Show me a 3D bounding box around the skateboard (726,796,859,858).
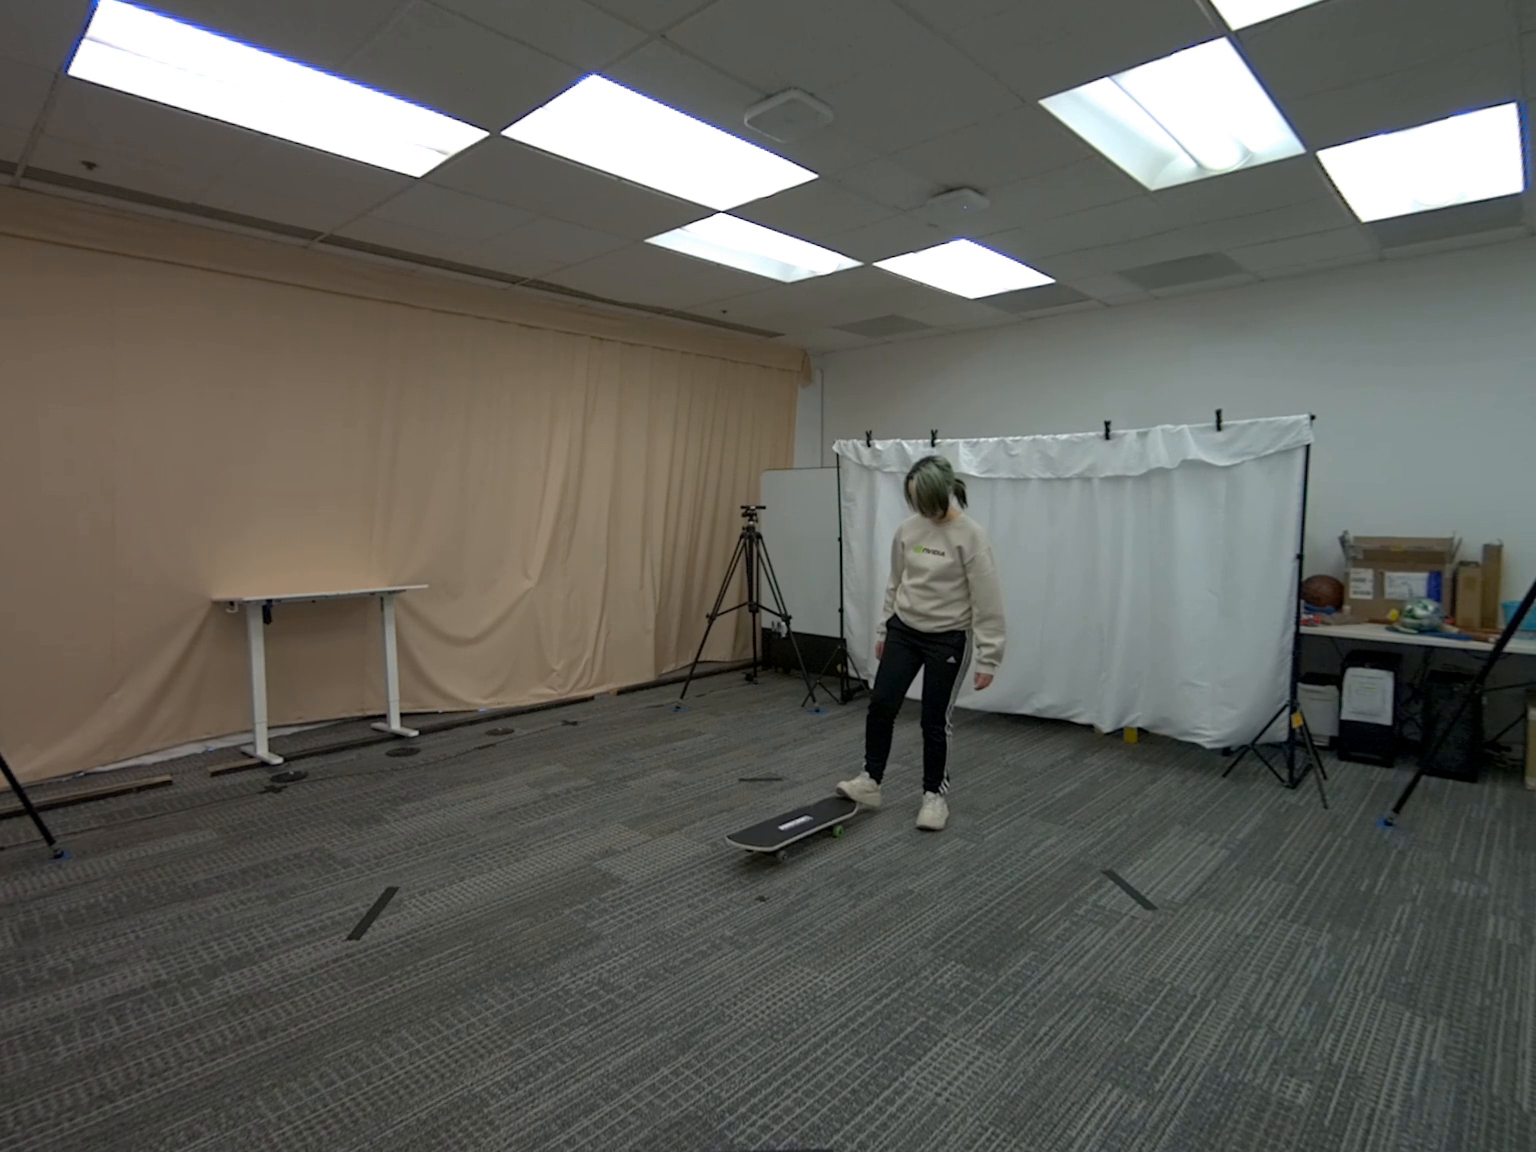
[{"bbox_3d":[0.113,1.042,3.439,0.200,0.110,0.760,4,3,39],"label":"skateboard"}]
